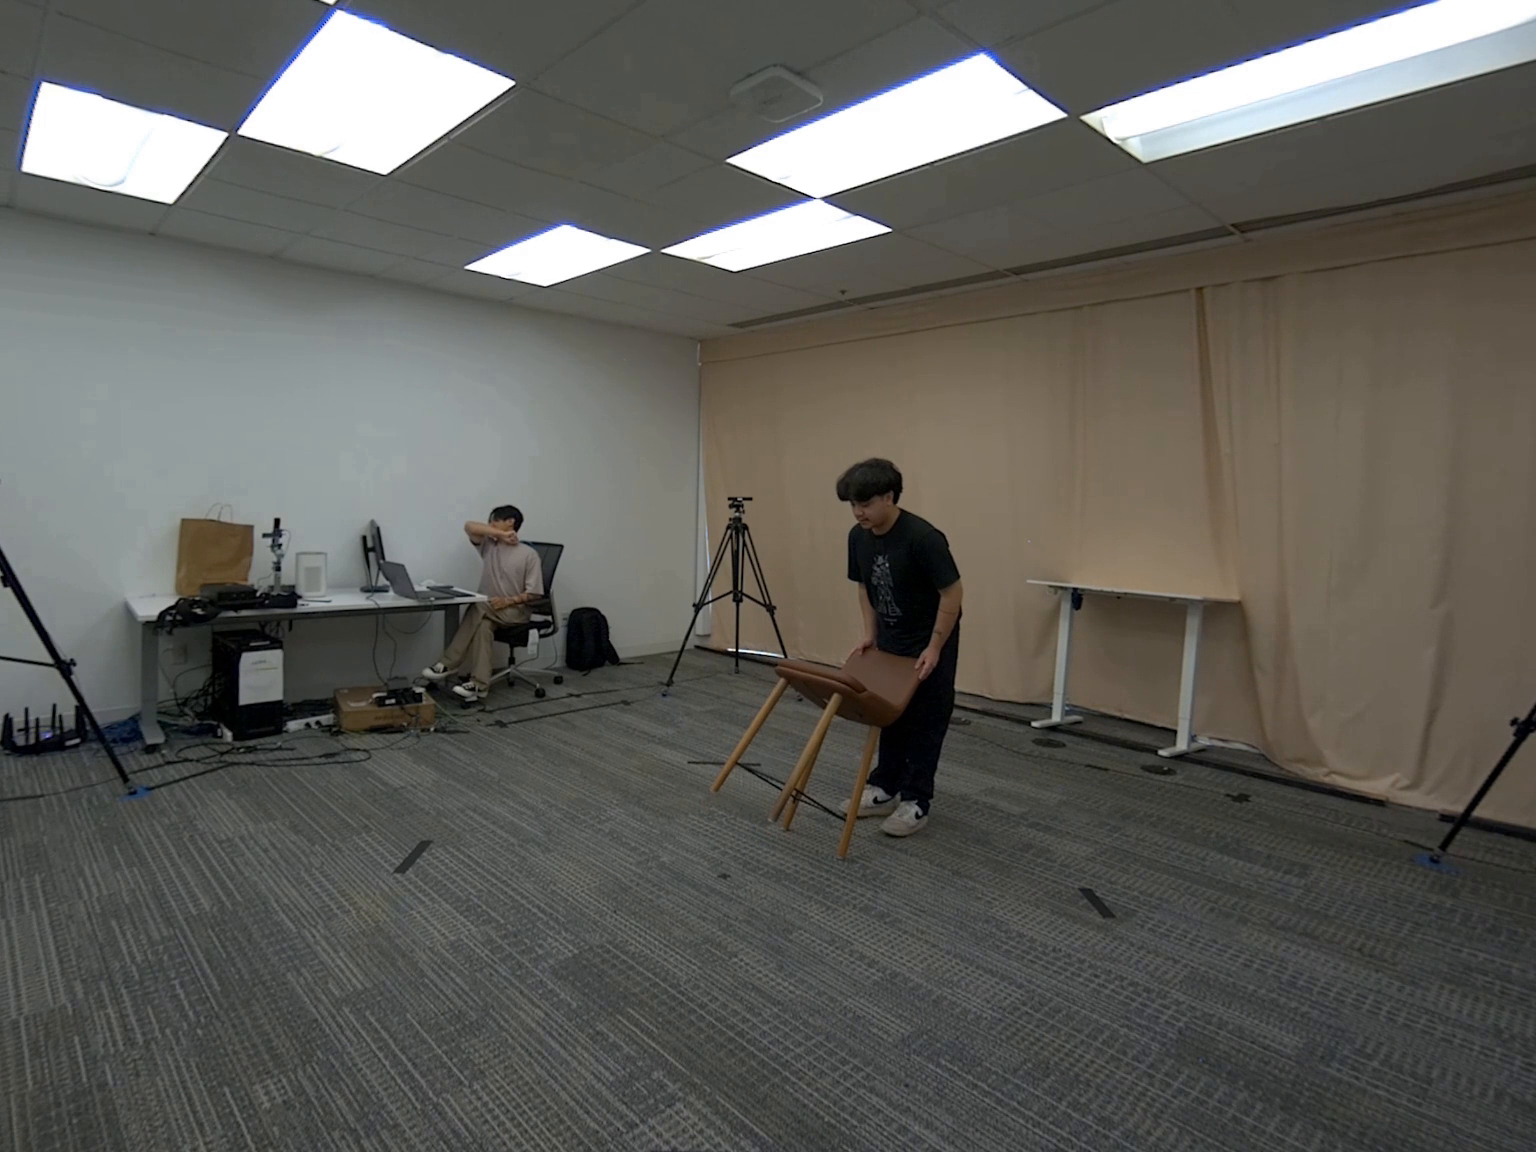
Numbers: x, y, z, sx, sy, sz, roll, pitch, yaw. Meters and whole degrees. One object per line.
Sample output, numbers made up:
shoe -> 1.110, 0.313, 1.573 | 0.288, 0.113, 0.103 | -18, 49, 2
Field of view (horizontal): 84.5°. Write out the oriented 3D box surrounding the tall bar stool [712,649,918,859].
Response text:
tall bar stool -> 0.224, 0.605, 3.423 | 0.454, 0.893, 0.468 | 39, -19, -32
